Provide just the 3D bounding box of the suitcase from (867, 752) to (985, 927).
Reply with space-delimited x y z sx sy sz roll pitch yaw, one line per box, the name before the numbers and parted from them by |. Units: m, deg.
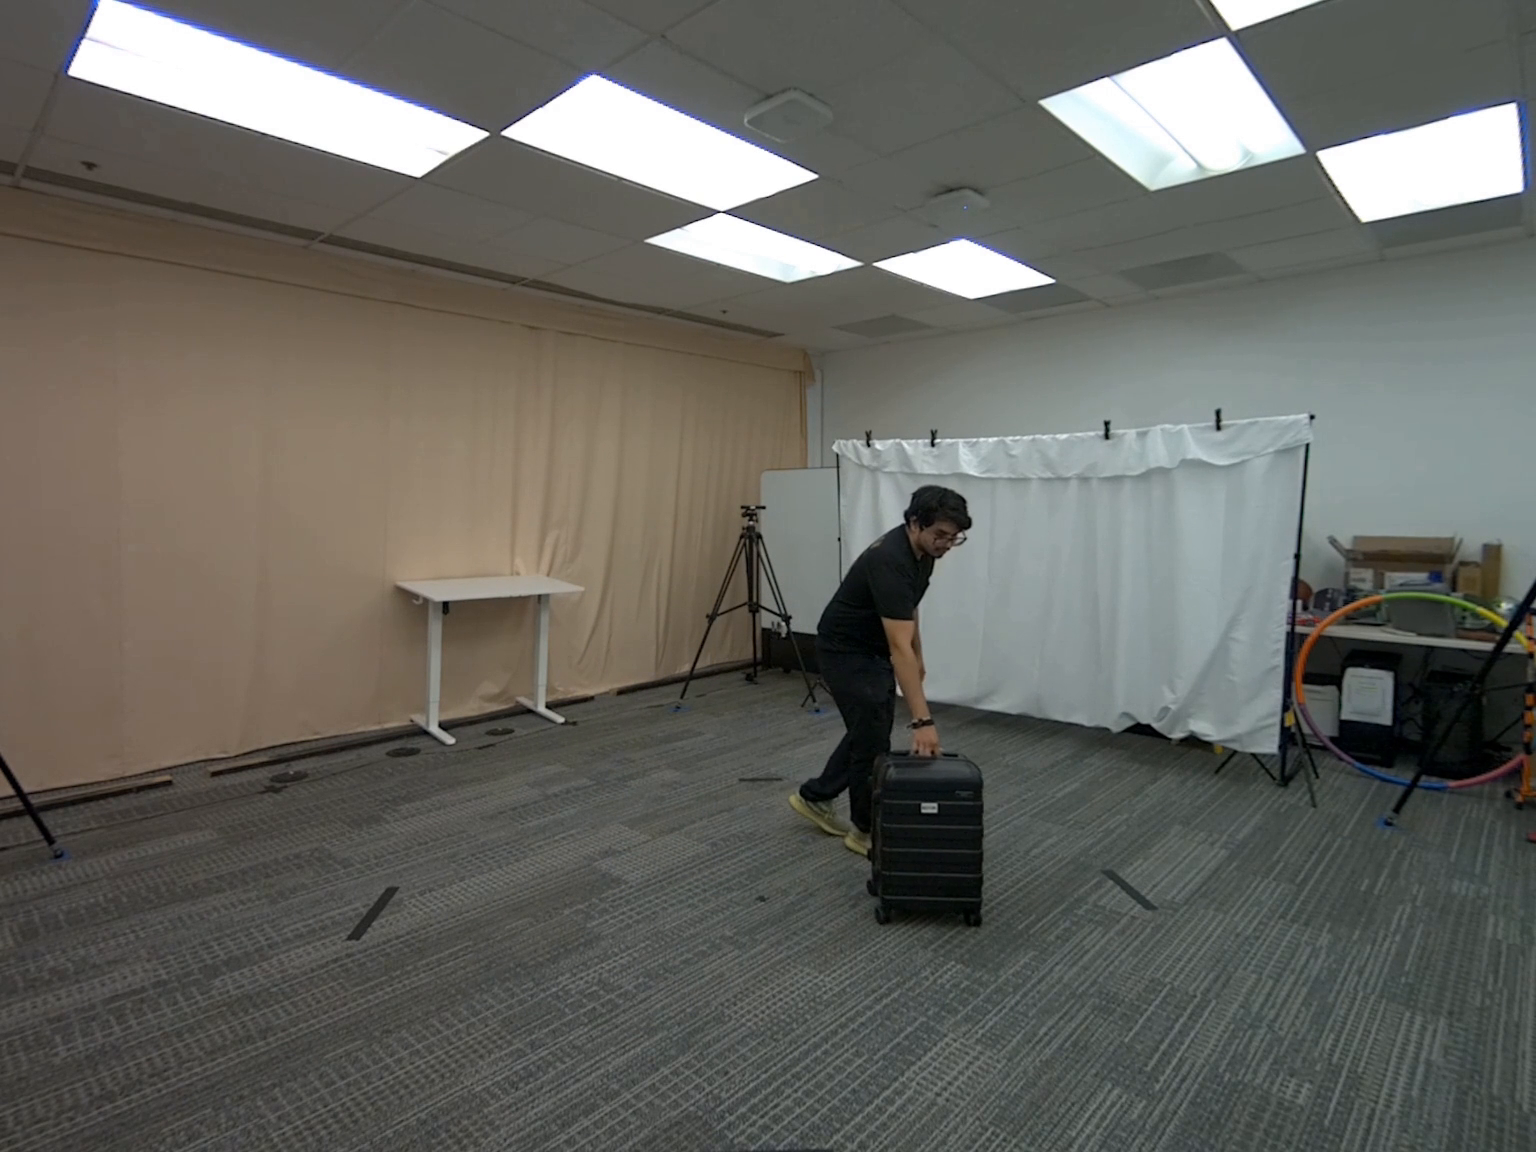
suitcase | 0.538 0.879 2.873 0.377 0.547 0.248 1 6 3
